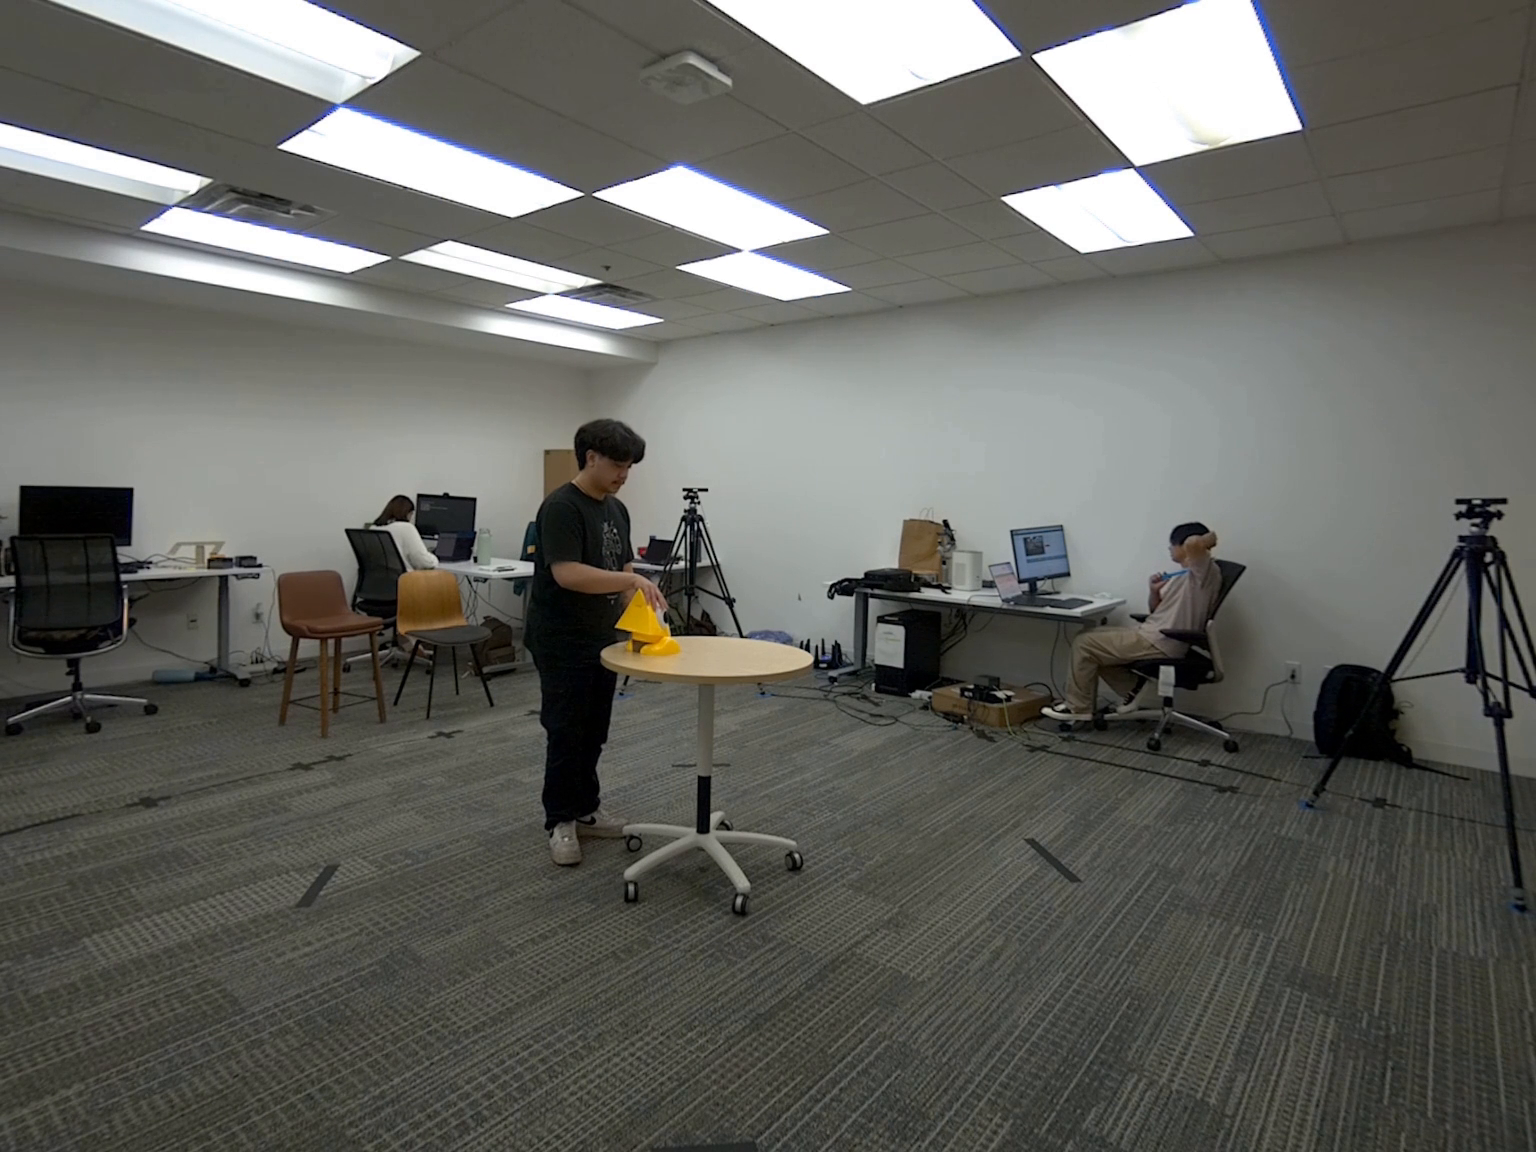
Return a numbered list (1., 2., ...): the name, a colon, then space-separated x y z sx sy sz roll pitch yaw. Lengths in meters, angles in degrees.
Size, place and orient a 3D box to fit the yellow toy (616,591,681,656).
1. yellow toy: -0.434 0.160 3.106 0.187 0.230 0.212 -1 5 -44
